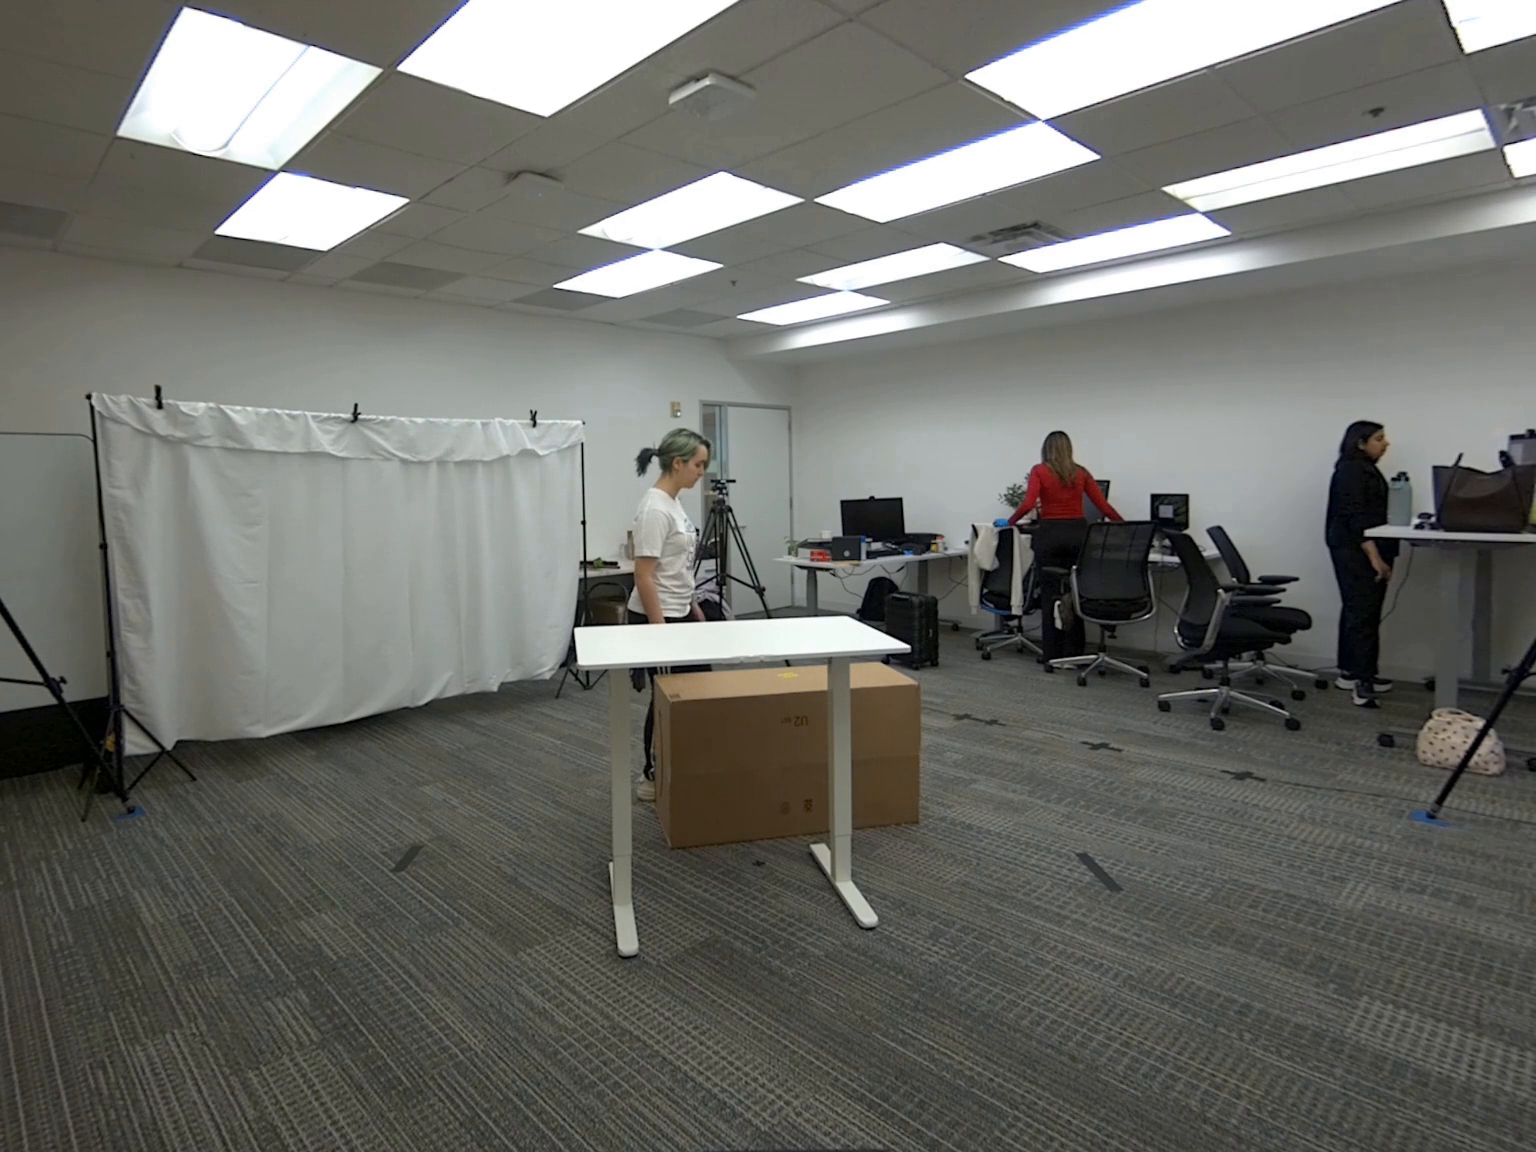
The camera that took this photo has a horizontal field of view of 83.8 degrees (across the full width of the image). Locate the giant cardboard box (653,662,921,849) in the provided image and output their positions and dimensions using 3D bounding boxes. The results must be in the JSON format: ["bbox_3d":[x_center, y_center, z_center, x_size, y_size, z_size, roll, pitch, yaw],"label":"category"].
[{"bbox_3d":[0.068,0.707,3.530,1.014,0.582,0.454,-2,5,-14],"label":"giant cardboard box"}]
